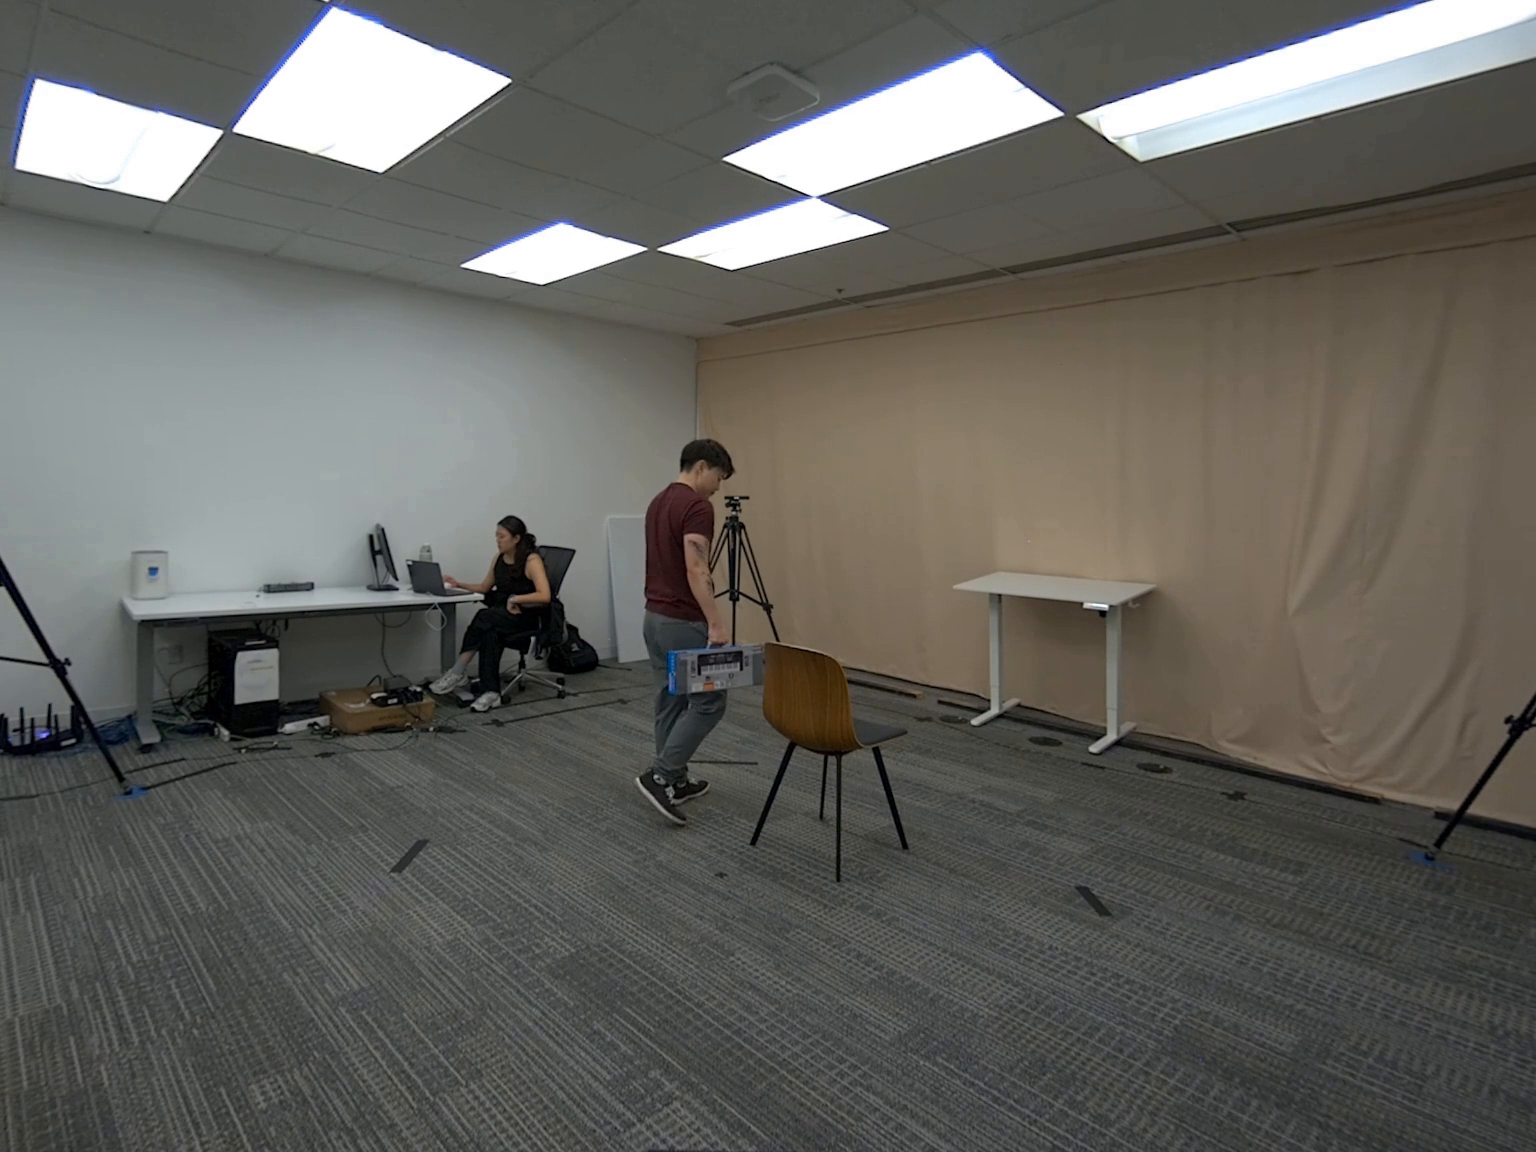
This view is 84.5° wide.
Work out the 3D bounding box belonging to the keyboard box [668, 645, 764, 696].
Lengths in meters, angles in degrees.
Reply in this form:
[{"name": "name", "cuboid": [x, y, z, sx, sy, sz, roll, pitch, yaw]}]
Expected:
[{"name": "keyboard box", "cuboid": [-0.219, 0.388, 3.513, 0.427, 0.176, 0.060, -1, 1, -35]}]
